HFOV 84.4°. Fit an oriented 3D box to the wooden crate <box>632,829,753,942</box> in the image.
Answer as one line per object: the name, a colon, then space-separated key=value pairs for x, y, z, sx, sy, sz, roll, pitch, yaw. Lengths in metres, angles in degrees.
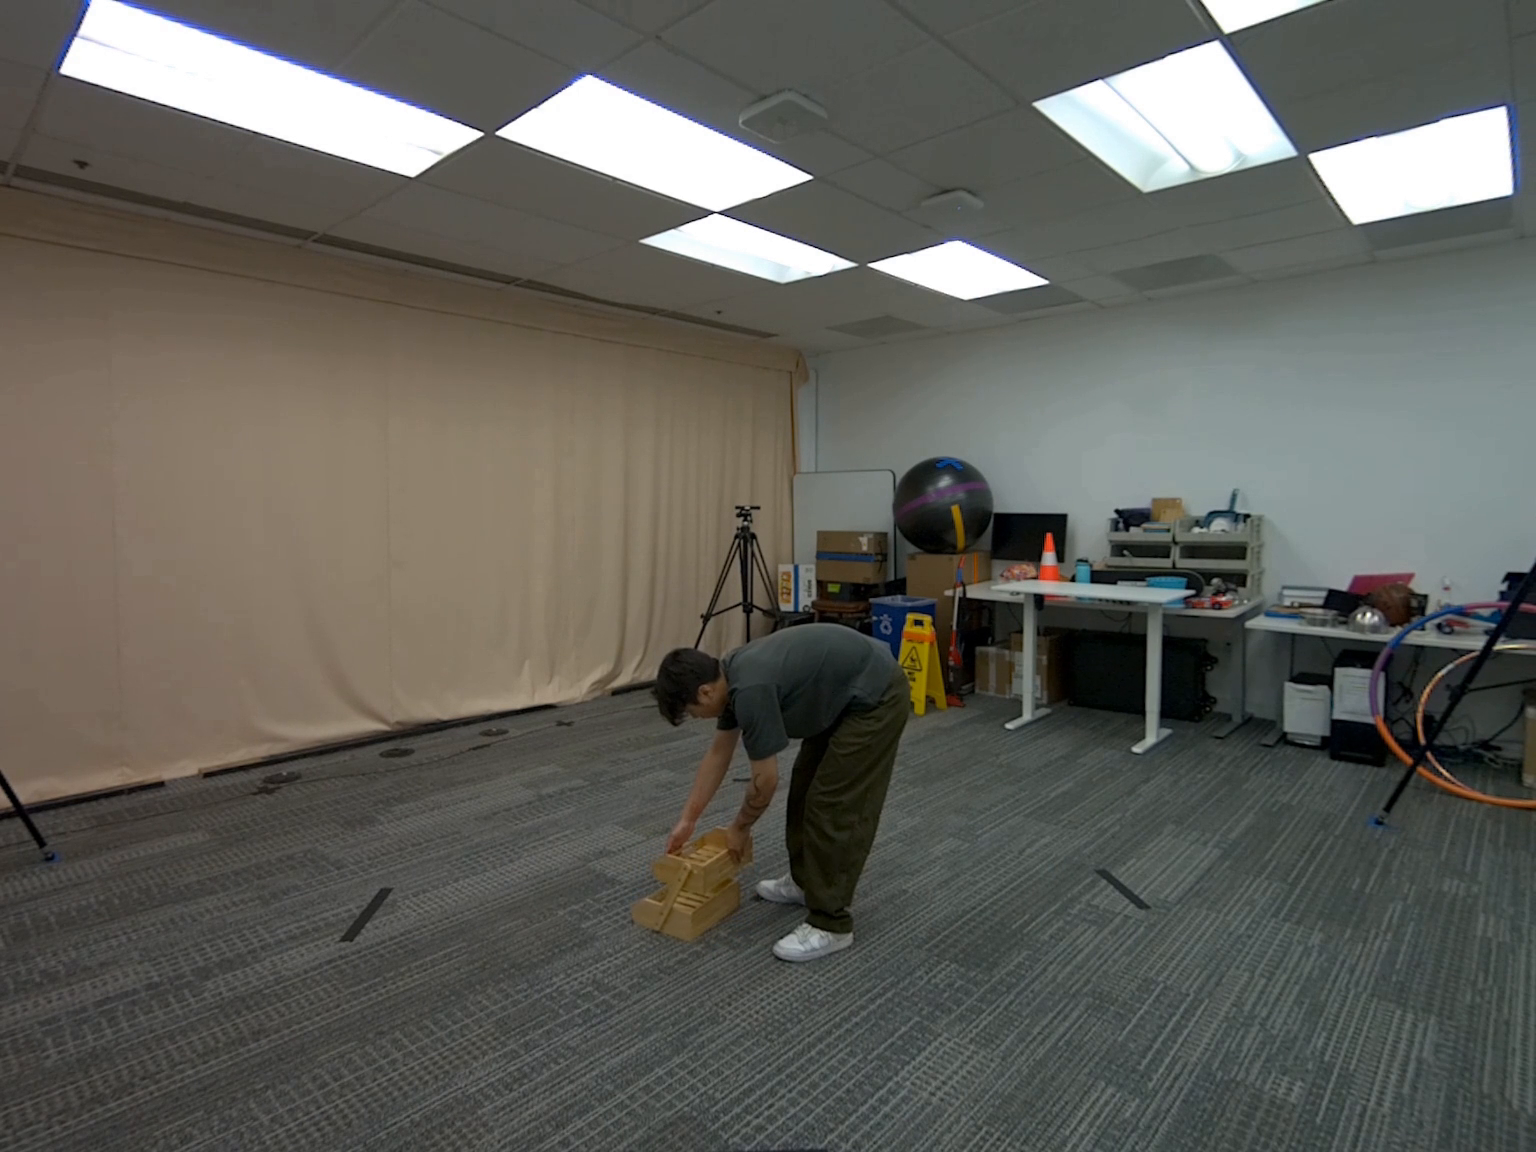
wooden crate: x=-0.260 y=1.025 z=2.860 sx=0.311 sy=0.273 sz=0.315 roll=3 pitch=4 yaw=32
